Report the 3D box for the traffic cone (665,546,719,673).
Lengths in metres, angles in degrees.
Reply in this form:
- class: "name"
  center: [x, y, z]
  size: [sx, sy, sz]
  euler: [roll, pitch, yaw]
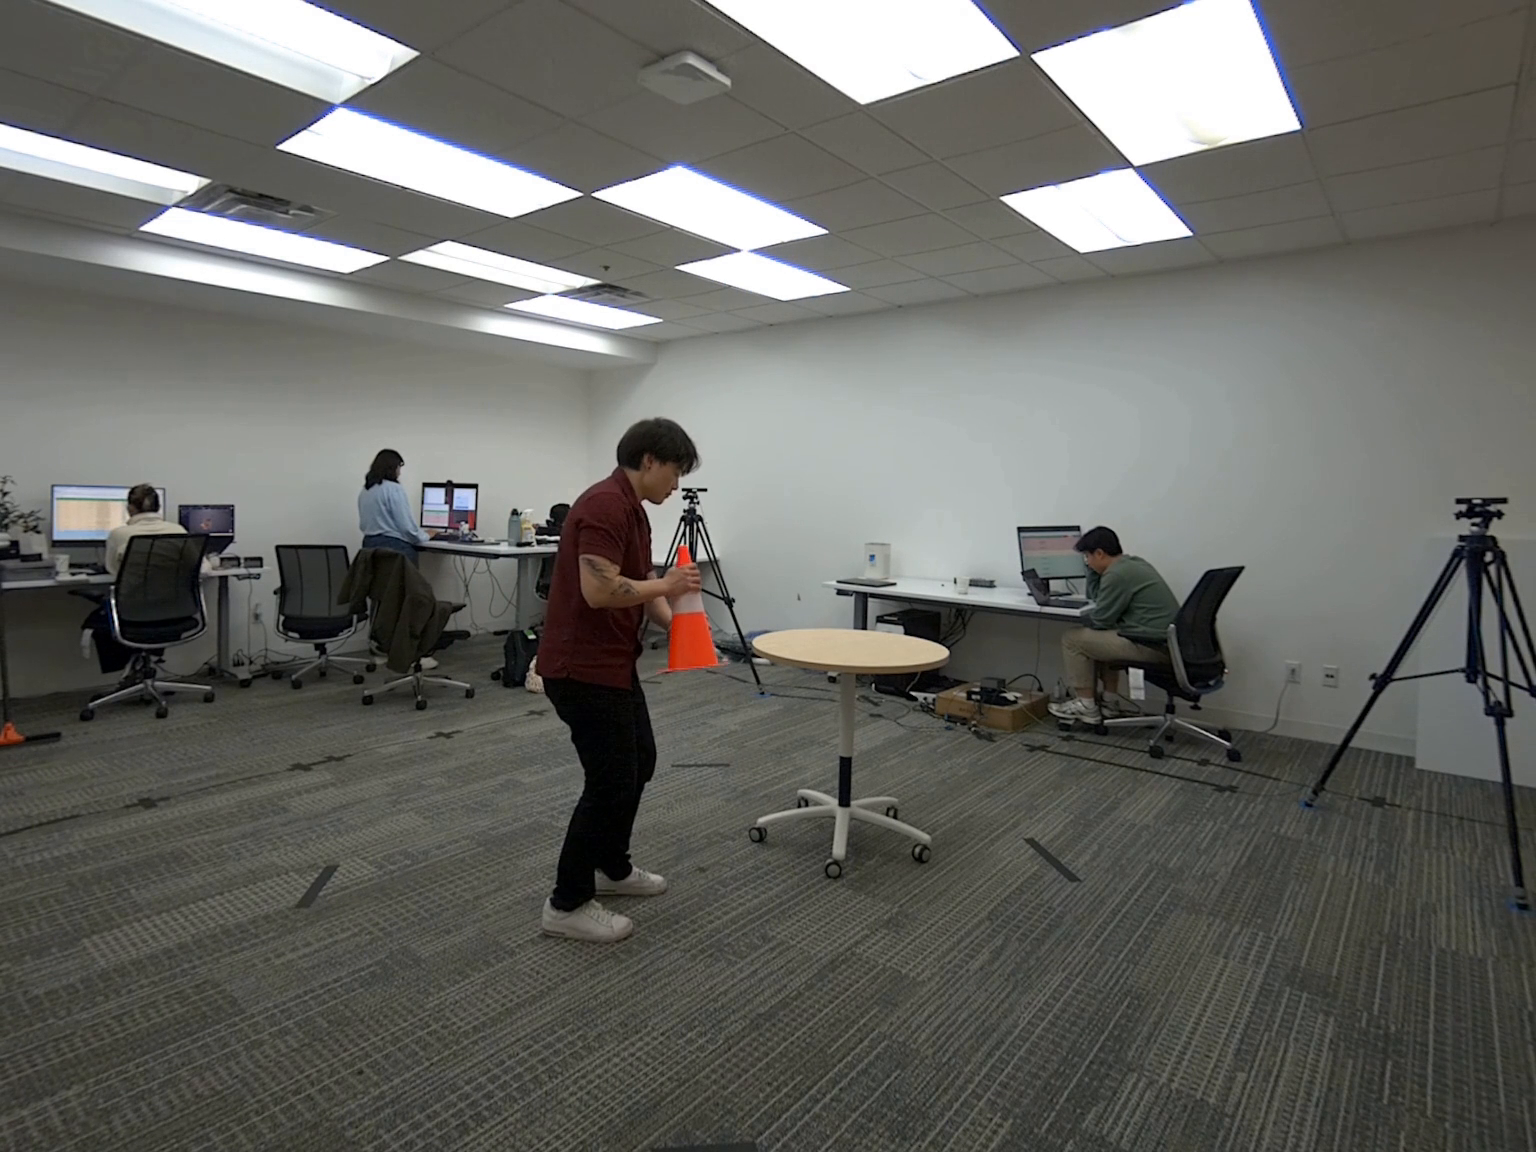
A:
- class: "traffic cone"
  center: [-0.267, 0.096, 2.646]
  size: [0.207, 0.386, 0.200]
  euler: [-7, -6, 21]
